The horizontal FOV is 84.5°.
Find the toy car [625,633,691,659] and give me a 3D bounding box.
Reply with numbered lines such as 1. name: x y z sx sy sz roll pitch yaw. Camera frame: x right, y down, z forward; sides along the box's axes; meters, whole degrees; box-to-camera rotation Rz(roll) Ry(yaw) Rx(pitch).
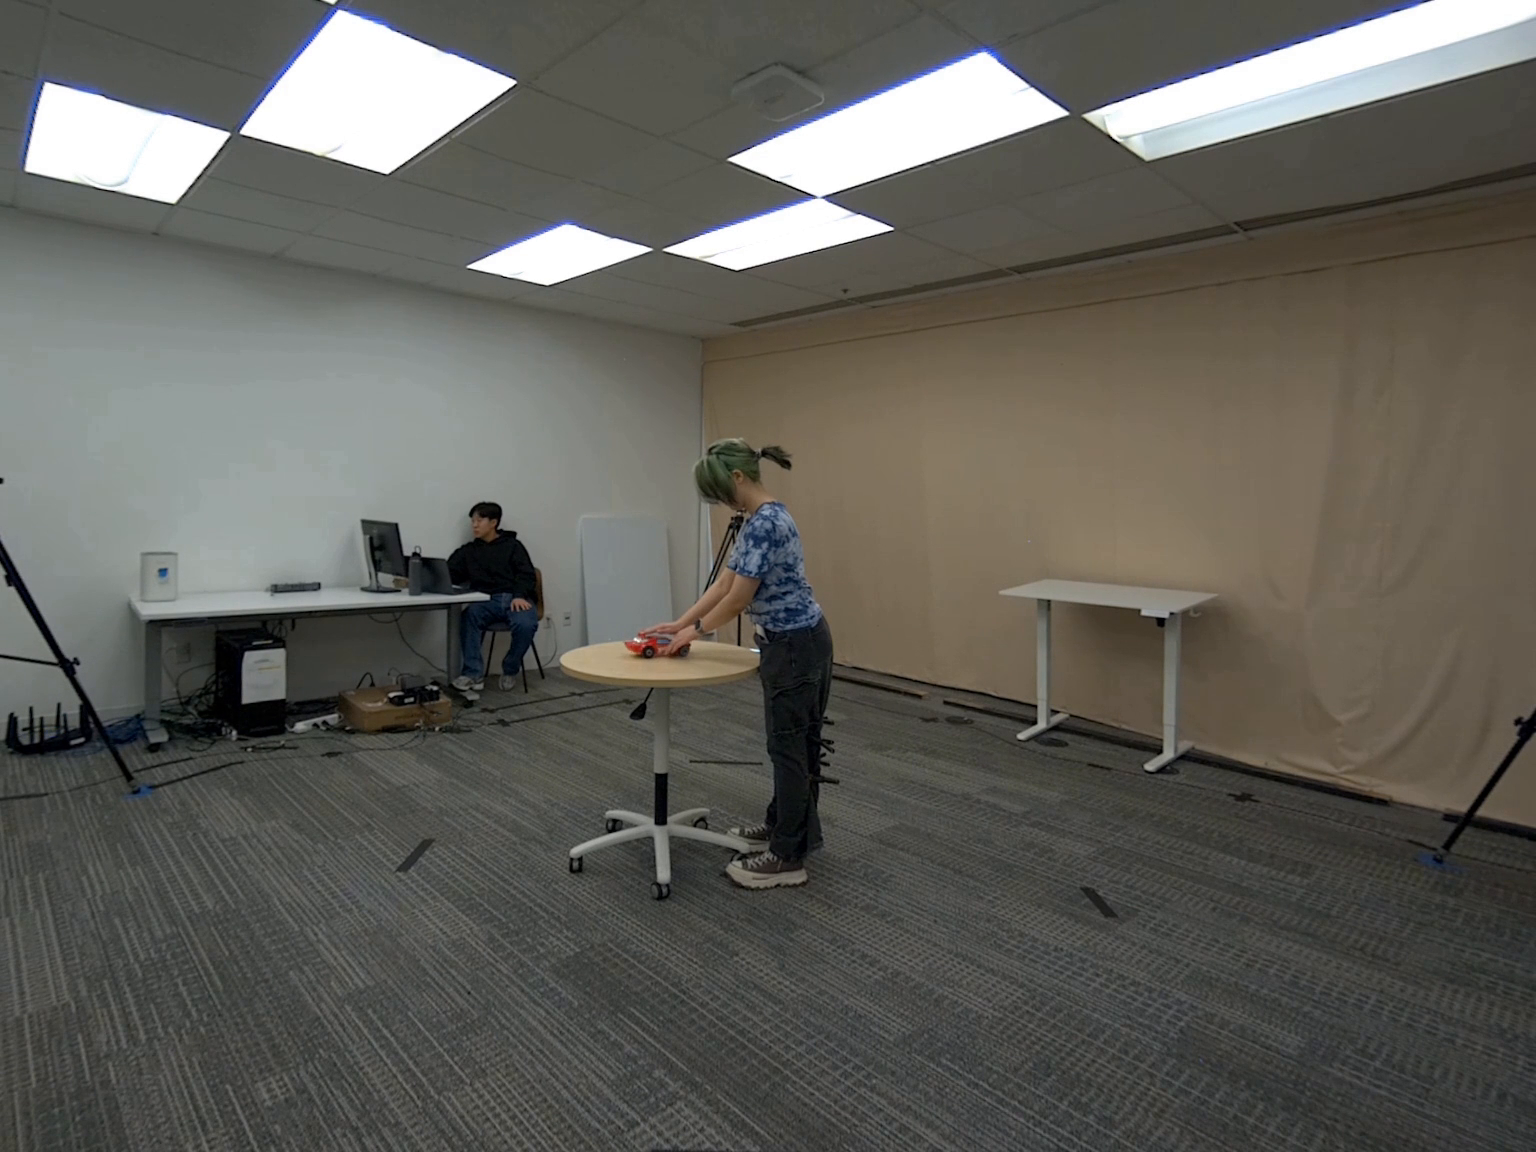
1. toy car: -0.434 0.271 3.215 0.249 0.083 0.133 10 -1 -26
